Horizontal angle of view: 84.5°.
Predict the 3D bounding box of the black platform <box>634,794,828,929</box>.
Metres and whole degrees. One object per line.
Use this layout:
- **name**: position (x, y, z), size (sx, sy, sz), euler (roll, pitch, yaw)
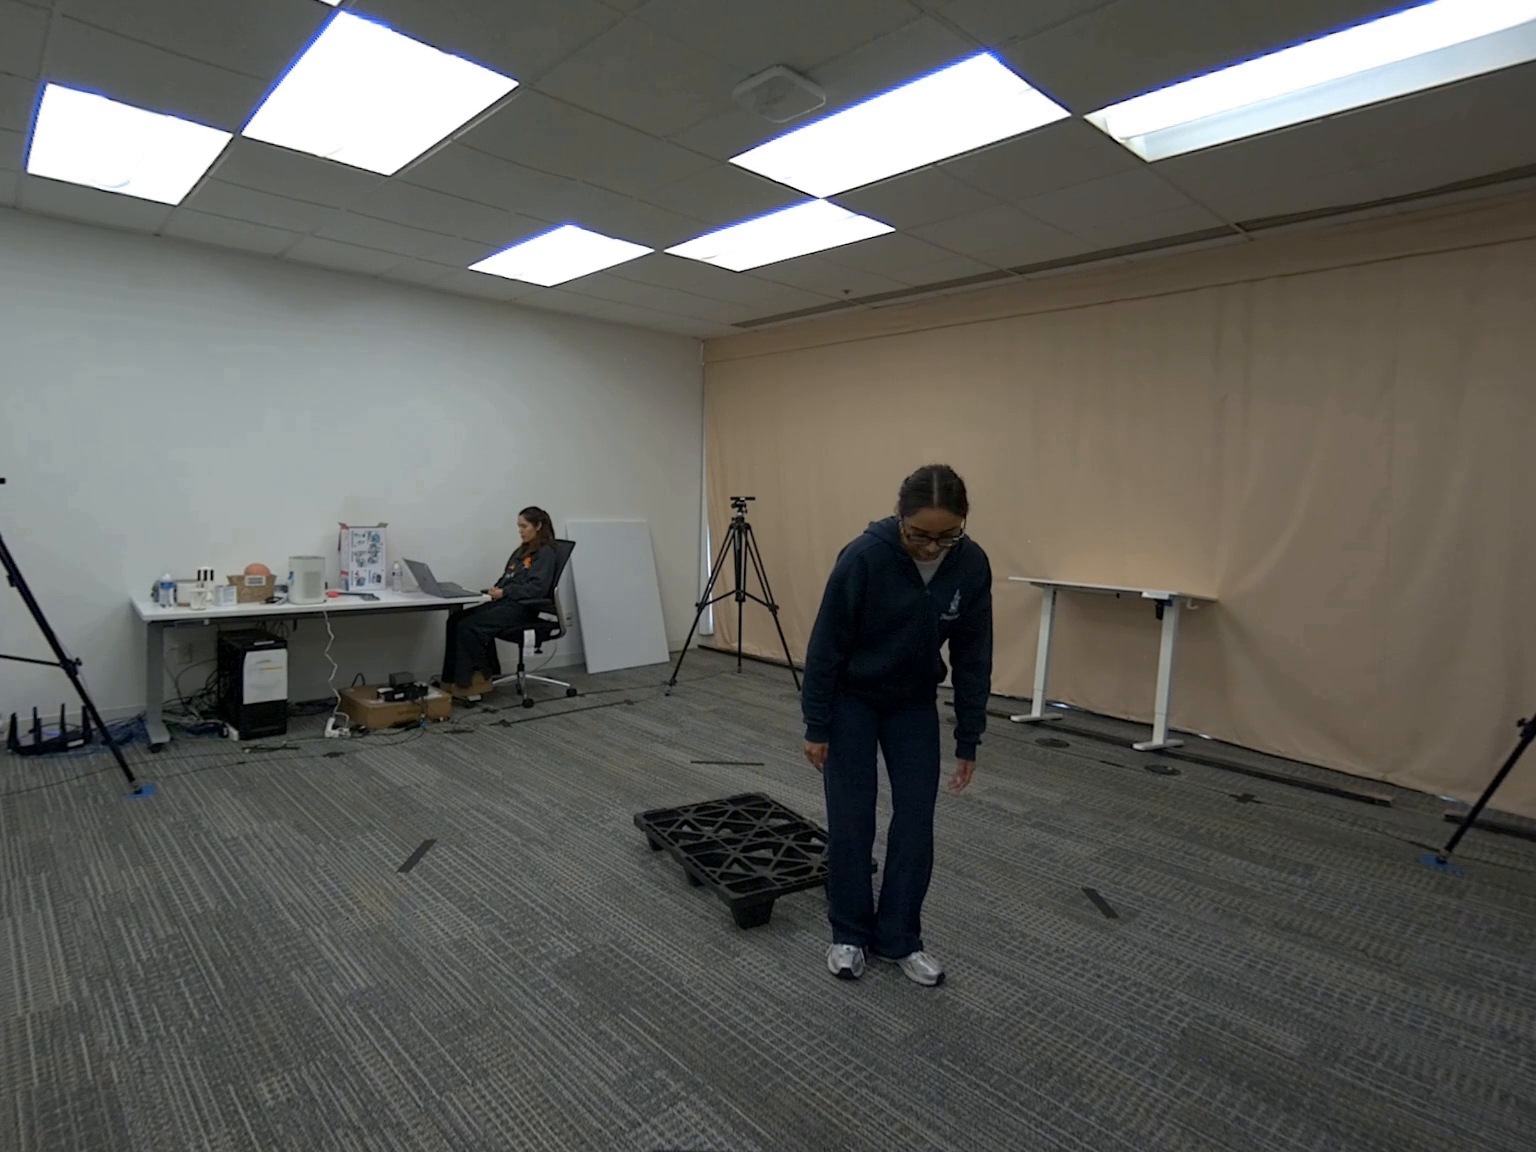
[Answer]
- **black platform**: position (-0.083, 1.038, 3.146), size (0.592, 0.143, 0.825), euler (-1, 6, -32)
